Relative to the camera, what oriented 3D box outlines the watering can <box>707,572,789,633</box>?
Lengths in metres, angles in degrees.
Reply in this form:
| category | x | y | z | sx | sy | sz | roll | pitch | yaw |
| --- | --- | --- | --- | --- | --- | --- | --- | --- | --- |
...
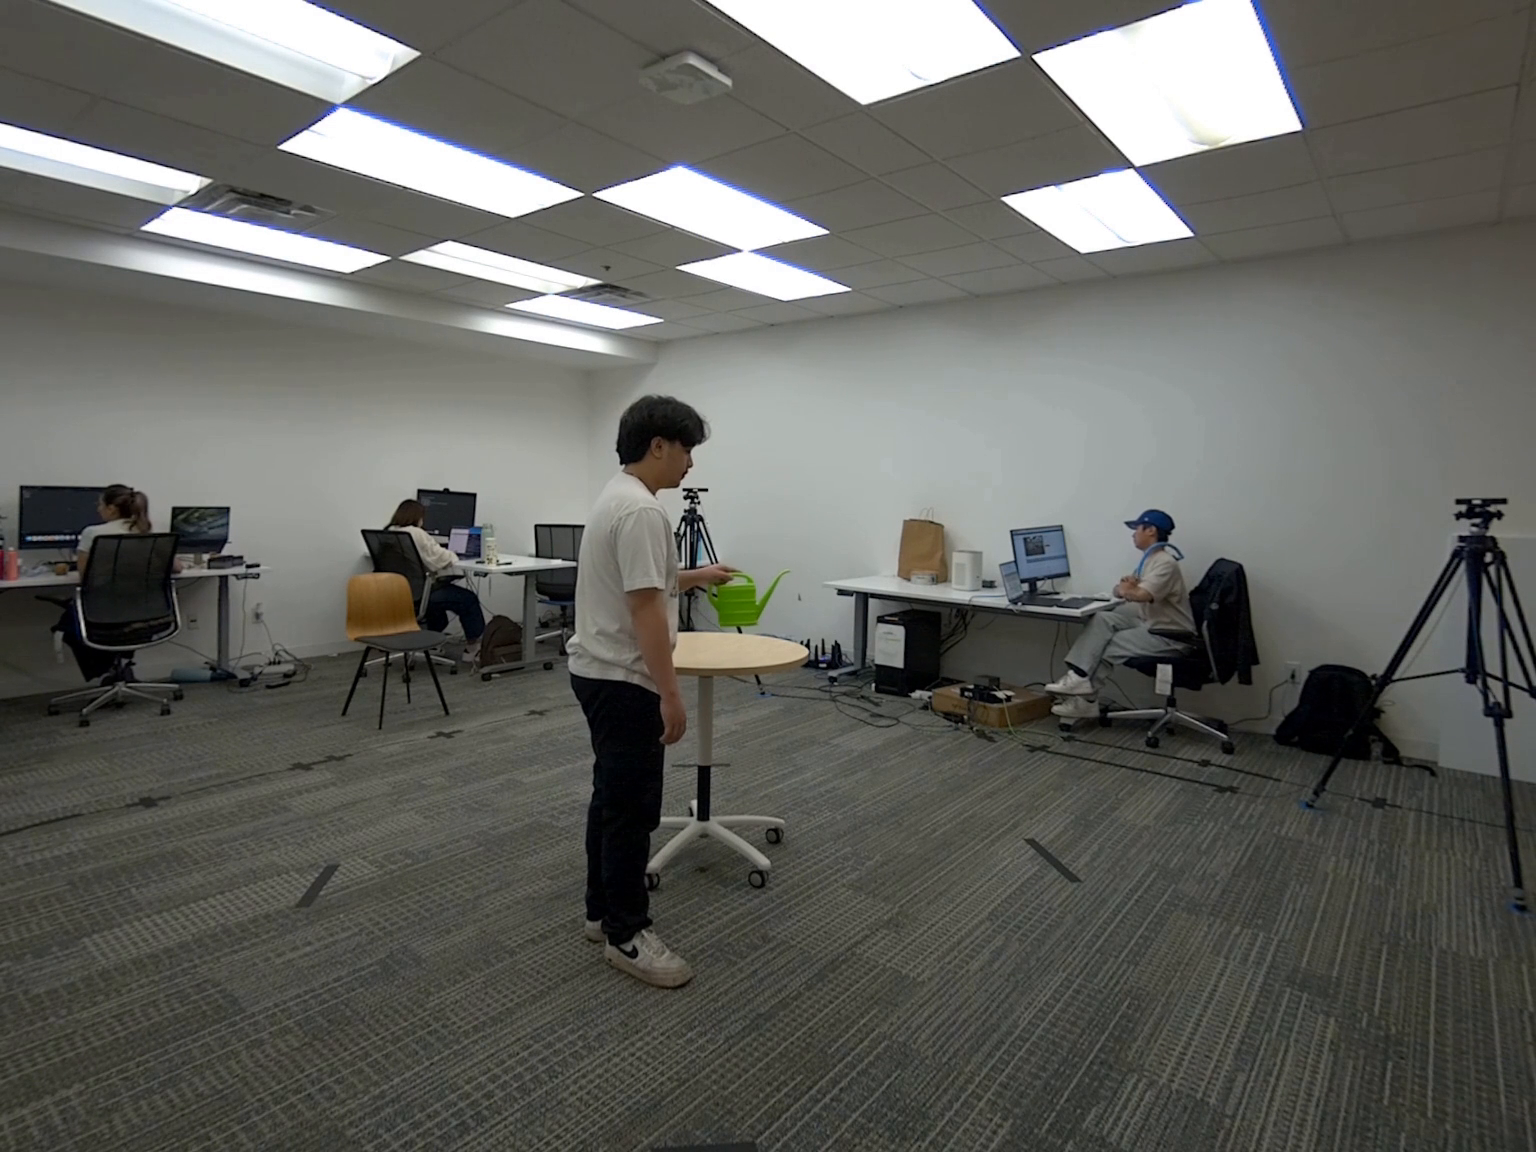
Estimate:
| category | x | y | z | sx | sy | sz | roll | pitch | yaw |
| --- | --- | --- | --- | --- | --- | --- | --- | --- | --- |
| watering can | -0.070 | 0.079 | 2.780 | 0.280 | 0.177 | 0.097 | -3 | -3 | 8 |
